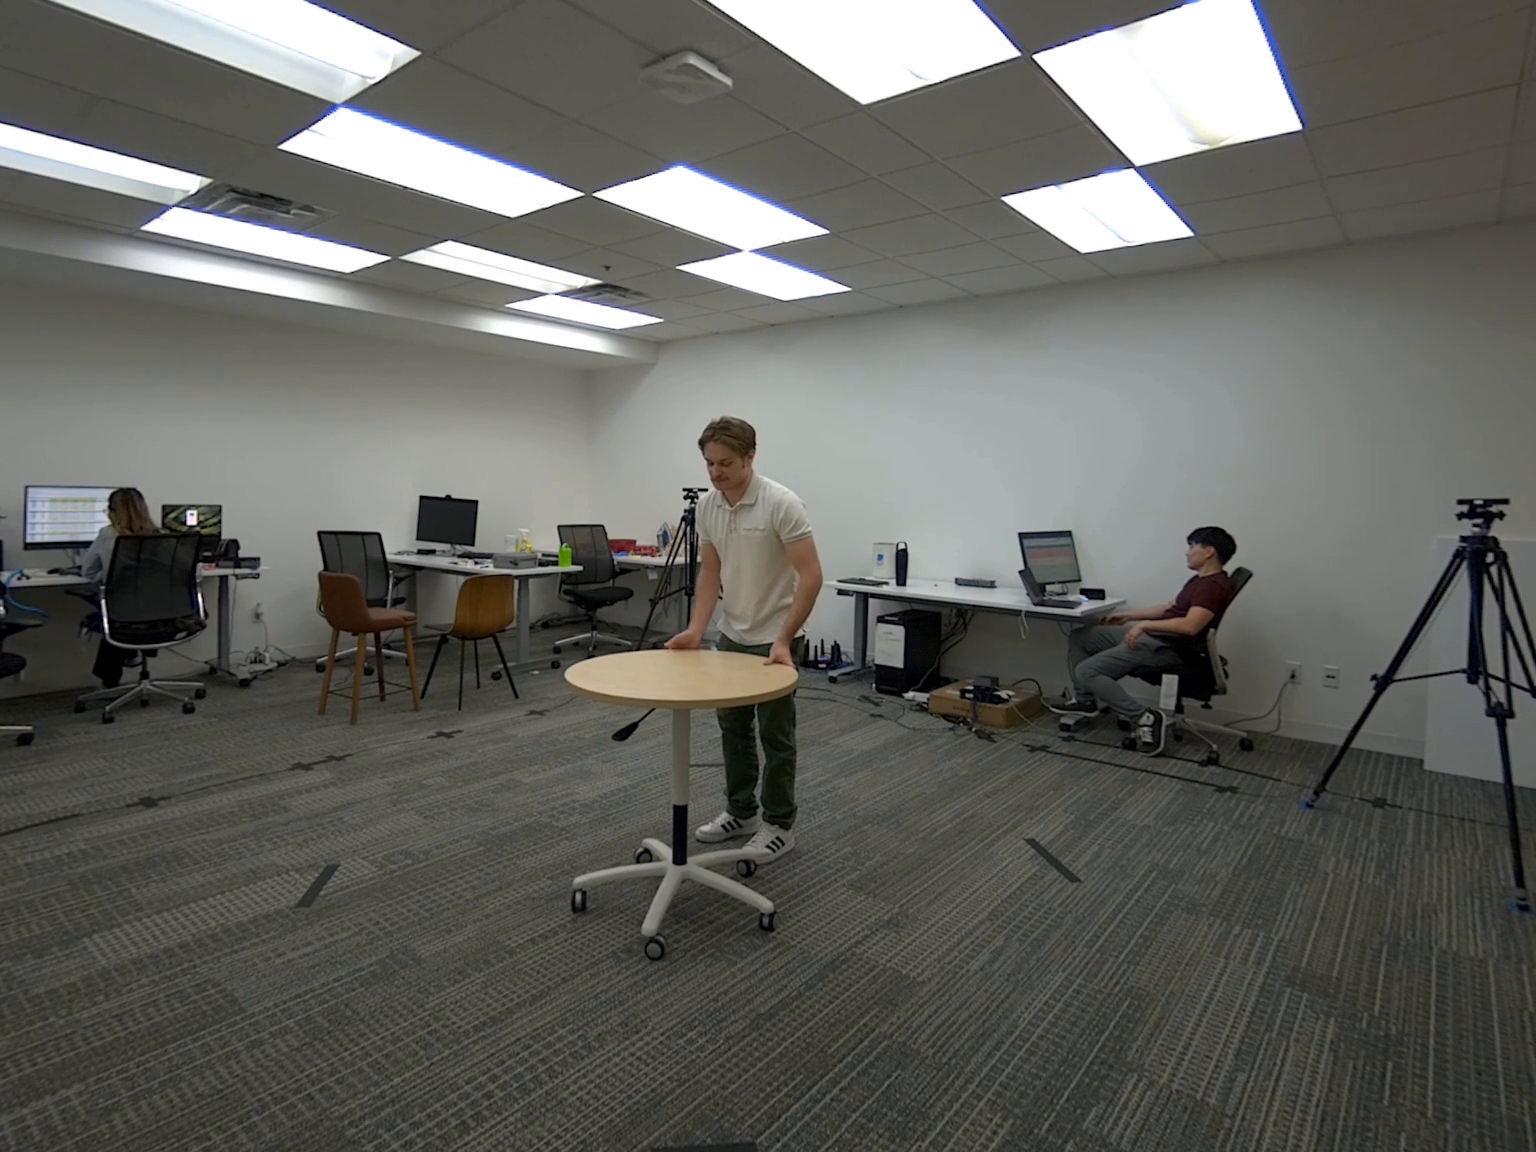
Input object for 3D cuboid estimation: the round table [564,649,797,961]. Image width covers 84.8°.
[{"bbox_3d":[-0.303,0.705,2.829,0.763,0.792,0.767,0,4,-2],"label":"round table"}]
